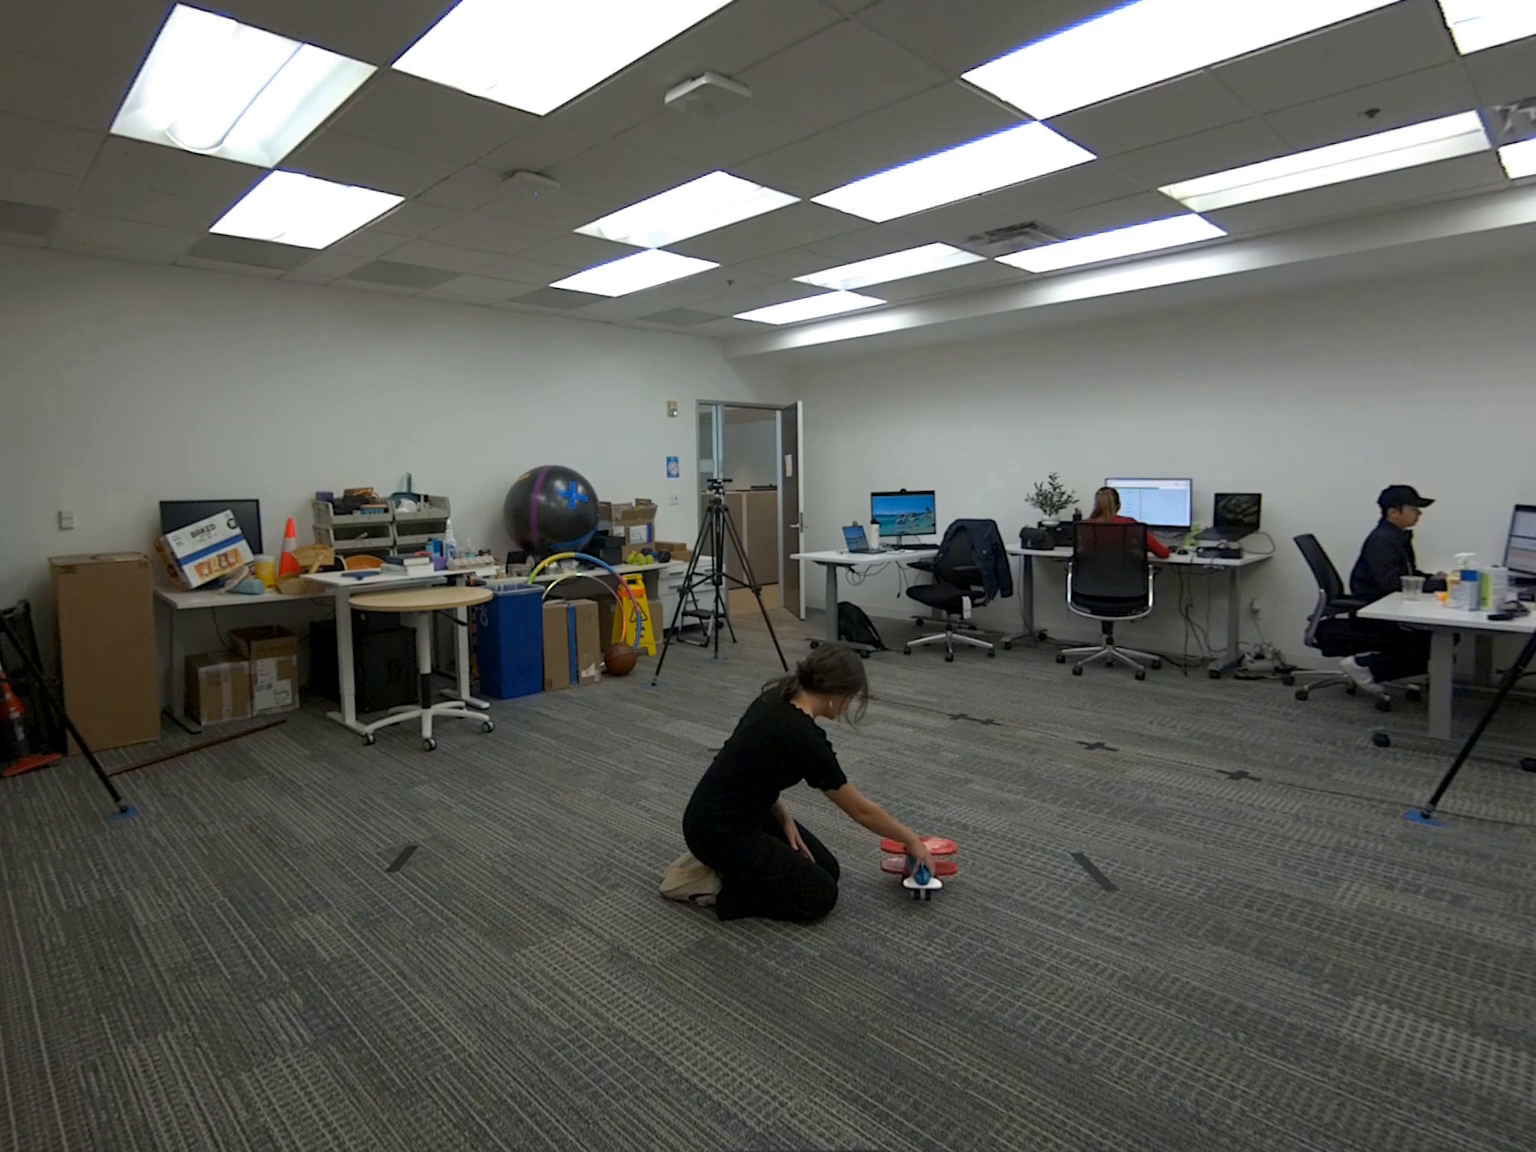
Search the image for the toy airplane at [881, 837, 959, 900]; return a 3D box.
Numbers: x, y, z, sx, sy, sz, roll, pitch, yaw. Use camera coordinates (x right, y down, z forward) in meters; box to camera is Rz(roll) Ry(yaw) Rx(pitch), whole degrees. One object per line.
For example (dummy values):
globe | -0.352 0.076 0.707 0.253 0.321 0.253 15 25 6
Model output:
toy airplane | 0.531 0.978 2.866 0.246 0.157 0.264 0 -1 -21
